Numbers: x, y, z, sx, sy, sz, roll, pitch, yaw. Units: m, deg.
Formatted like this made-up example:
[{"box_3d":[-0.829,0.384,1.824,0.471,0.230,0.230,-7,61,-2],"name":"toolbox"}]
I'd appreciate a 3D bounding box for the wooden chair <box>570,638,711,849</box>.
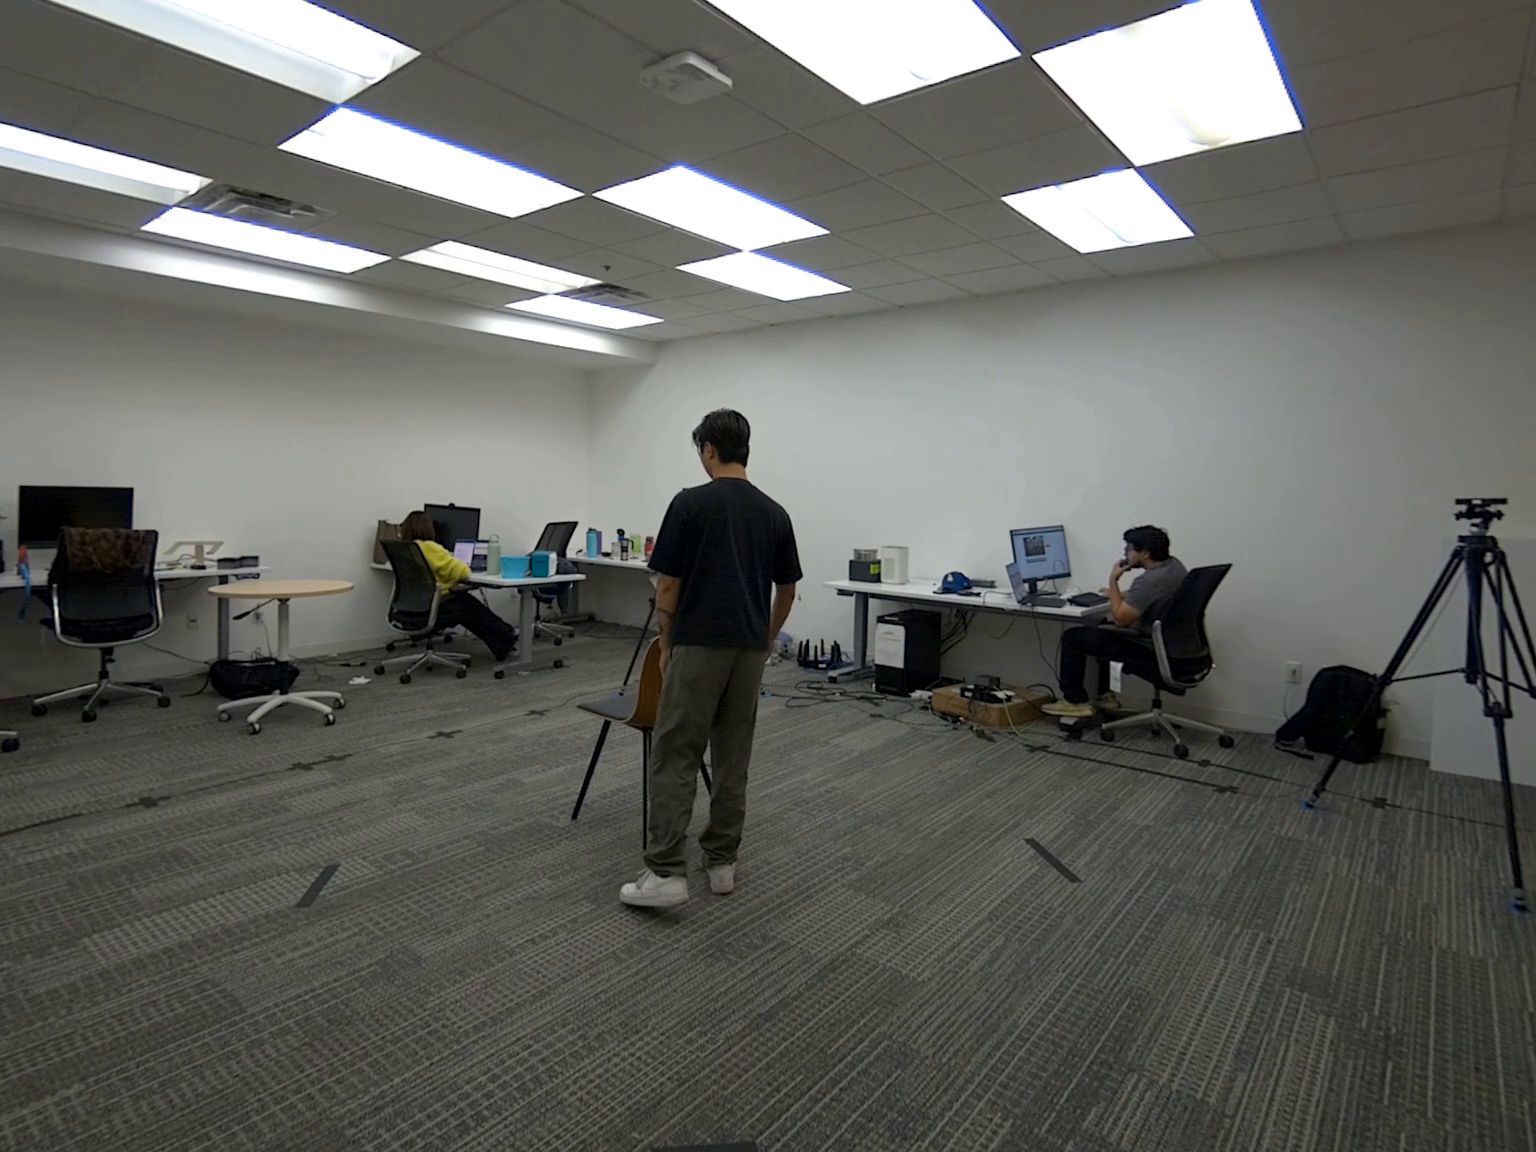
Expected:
[{"box_3d":[-0.520,0.593,3.550,0.542,0.873,0.464,9,8,40],"name":"wooden chair"}]
